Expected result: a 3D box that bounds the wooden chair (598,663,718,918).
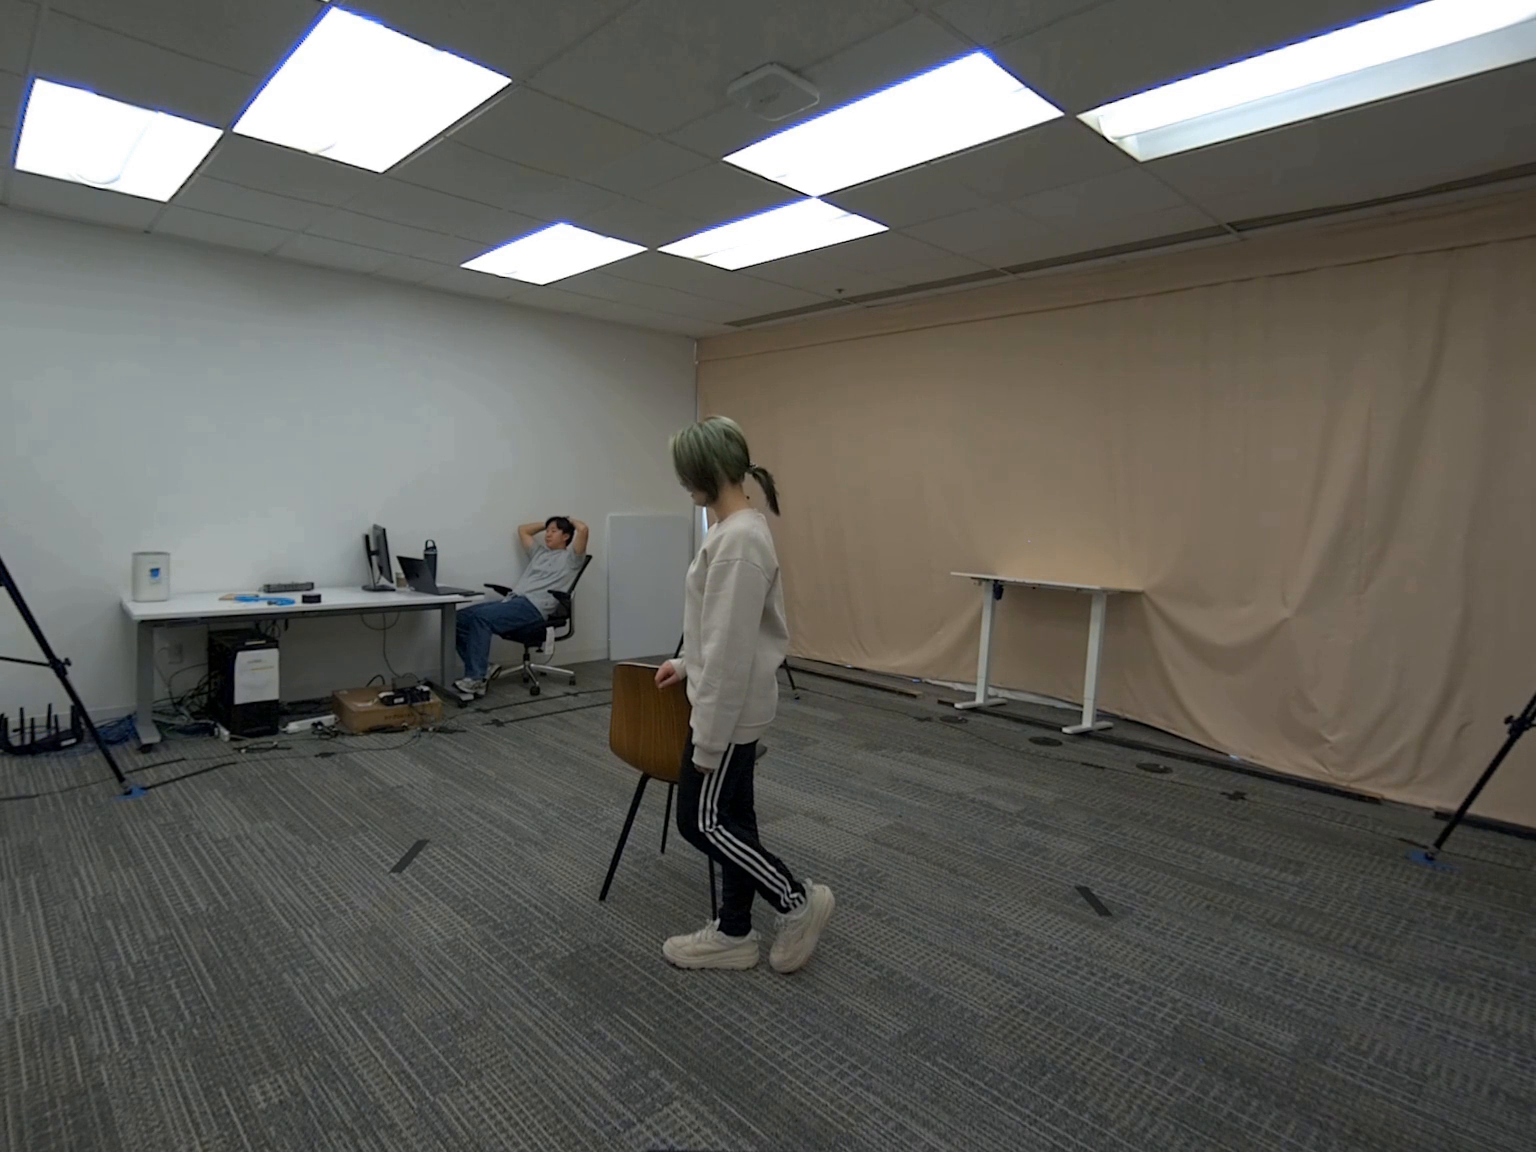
[{"bbox_3d":[-0.282,0.686,2.980,0.487,0.872,0.516,3,8,23],"label":"wooden chair"}]
